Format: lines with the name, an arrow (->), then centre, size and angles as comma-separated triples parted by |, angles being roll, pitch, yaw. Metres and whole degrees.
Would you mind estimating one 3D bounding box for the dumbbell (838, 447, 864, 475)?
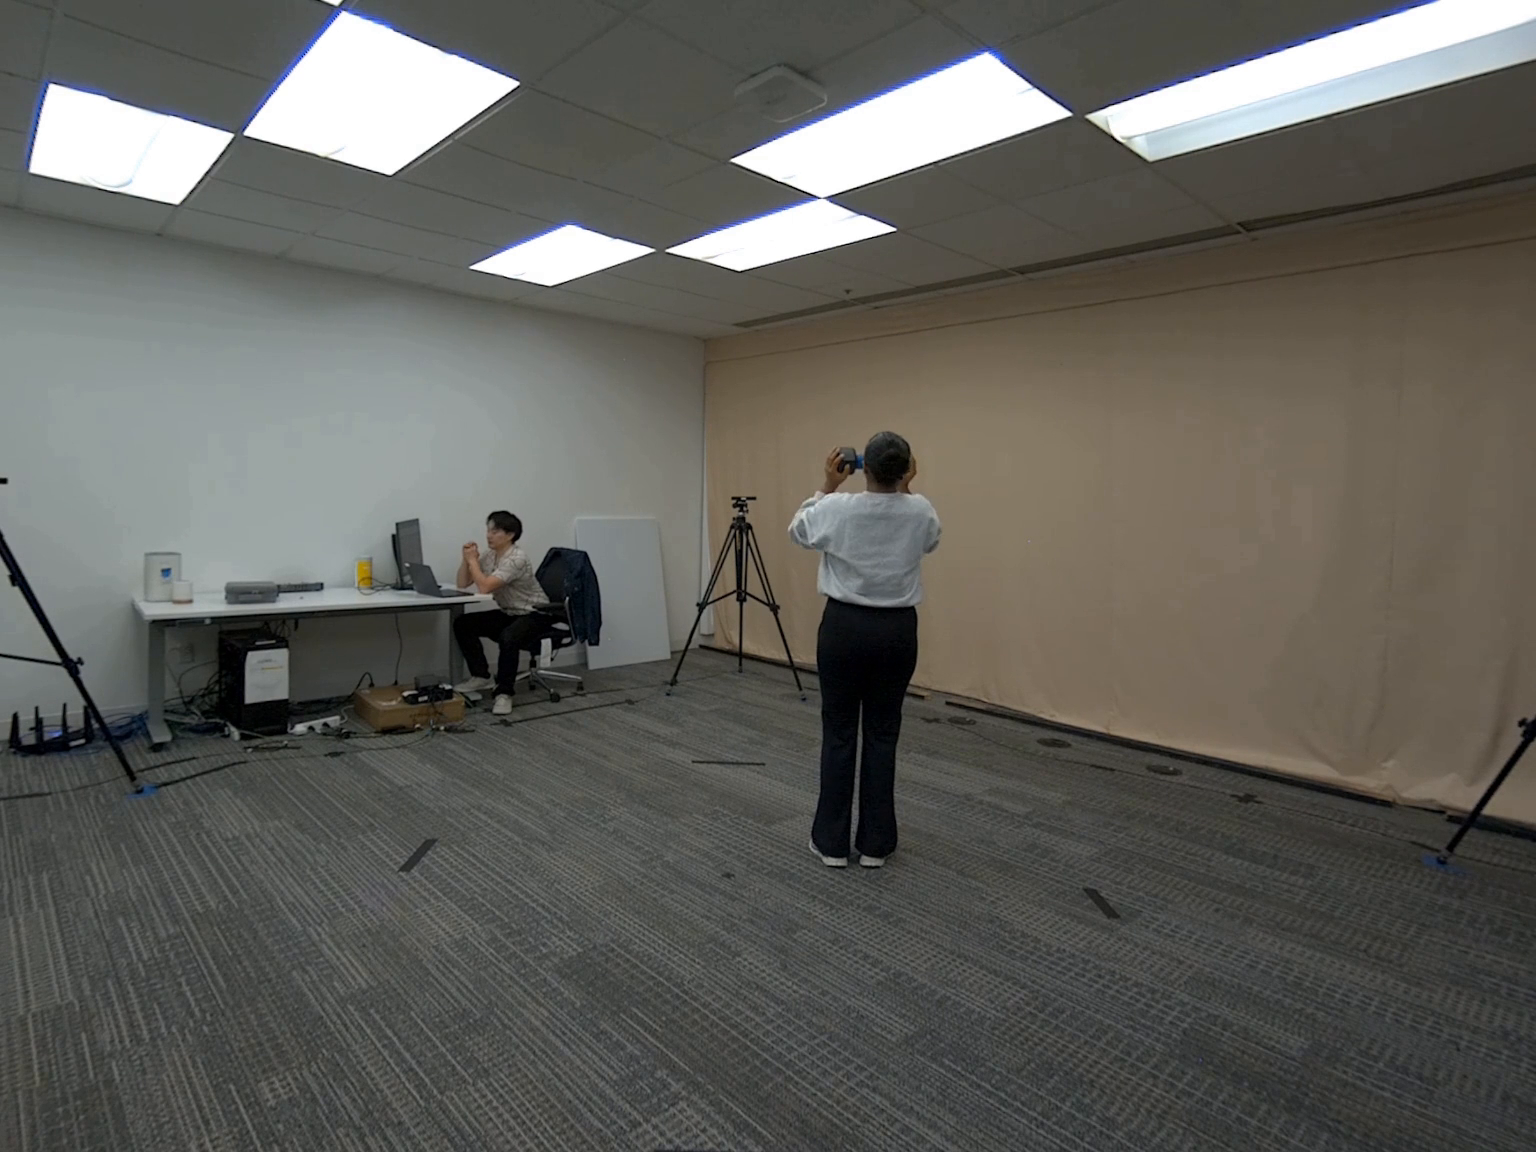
dumbbell -> 0.398, -0.463, 3.316 | 0.292, 0.125, 0.107 | 0, -29, -7
